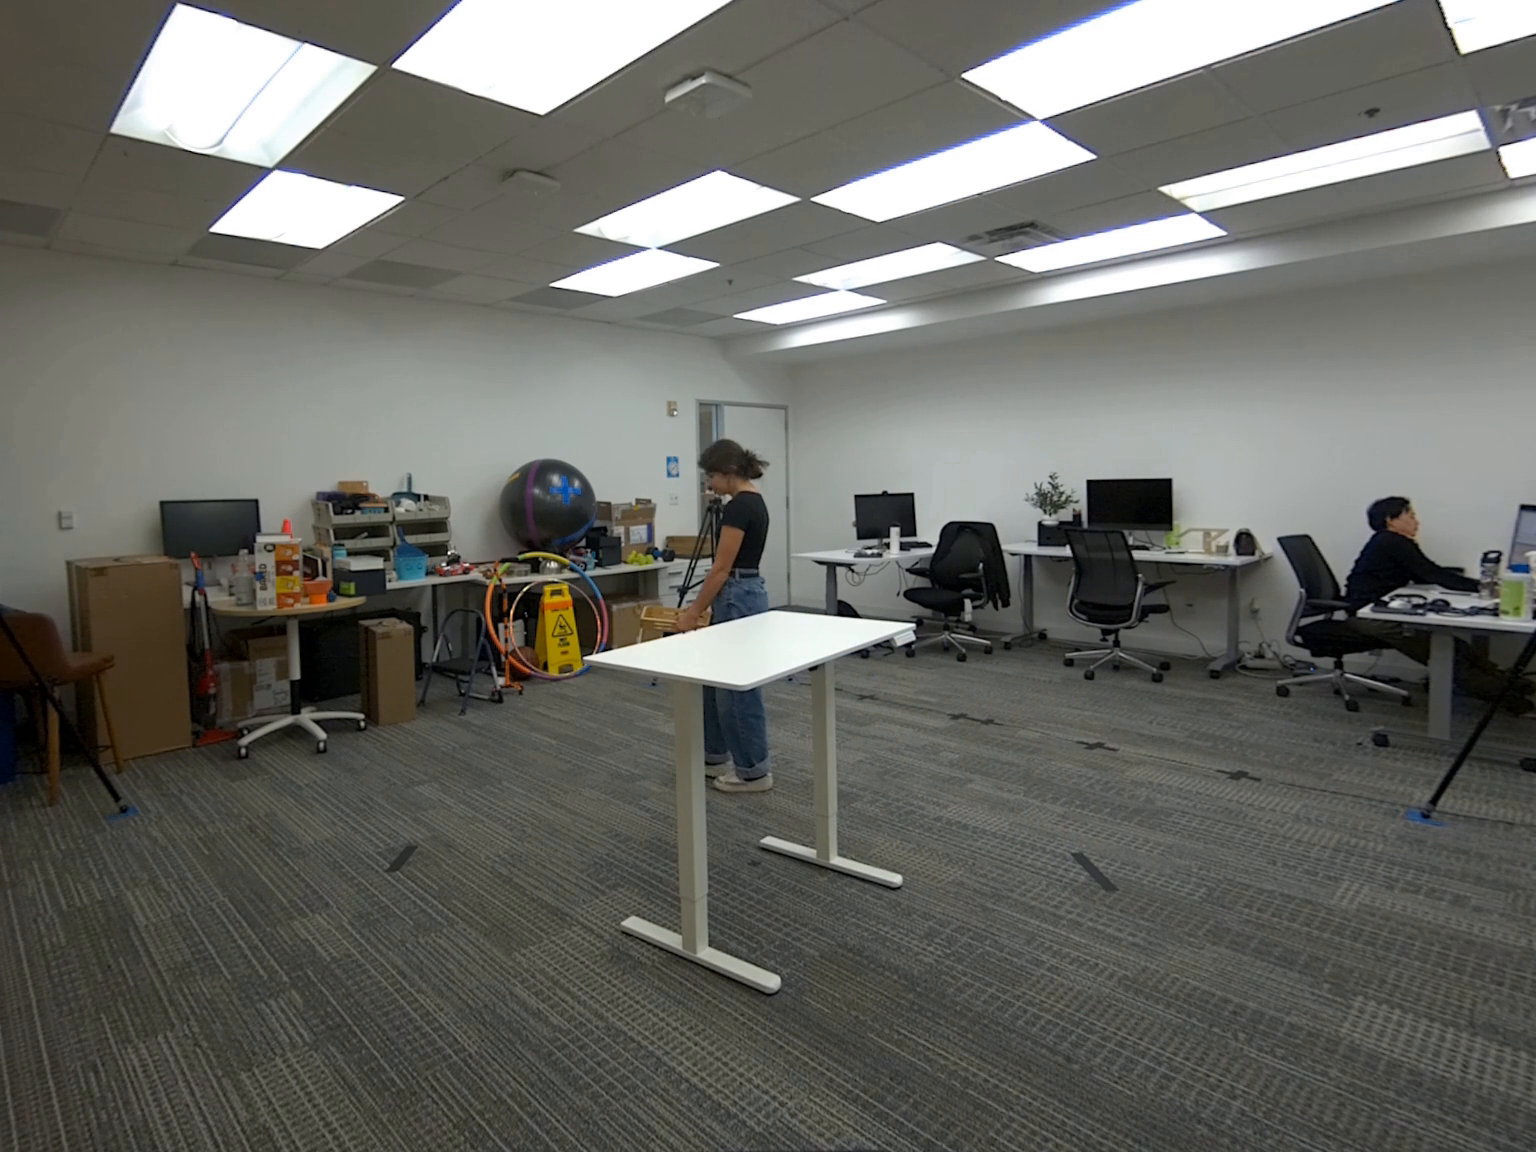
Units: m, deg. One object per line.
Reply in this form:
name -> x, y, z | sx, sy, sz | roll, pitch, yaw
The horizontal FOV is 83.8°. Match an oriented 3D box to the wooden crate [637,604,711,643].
wooden crate -> -0.415, 0.284, 3.793 | 0.326, 0.273, 0.300 | 6, 0, 4
